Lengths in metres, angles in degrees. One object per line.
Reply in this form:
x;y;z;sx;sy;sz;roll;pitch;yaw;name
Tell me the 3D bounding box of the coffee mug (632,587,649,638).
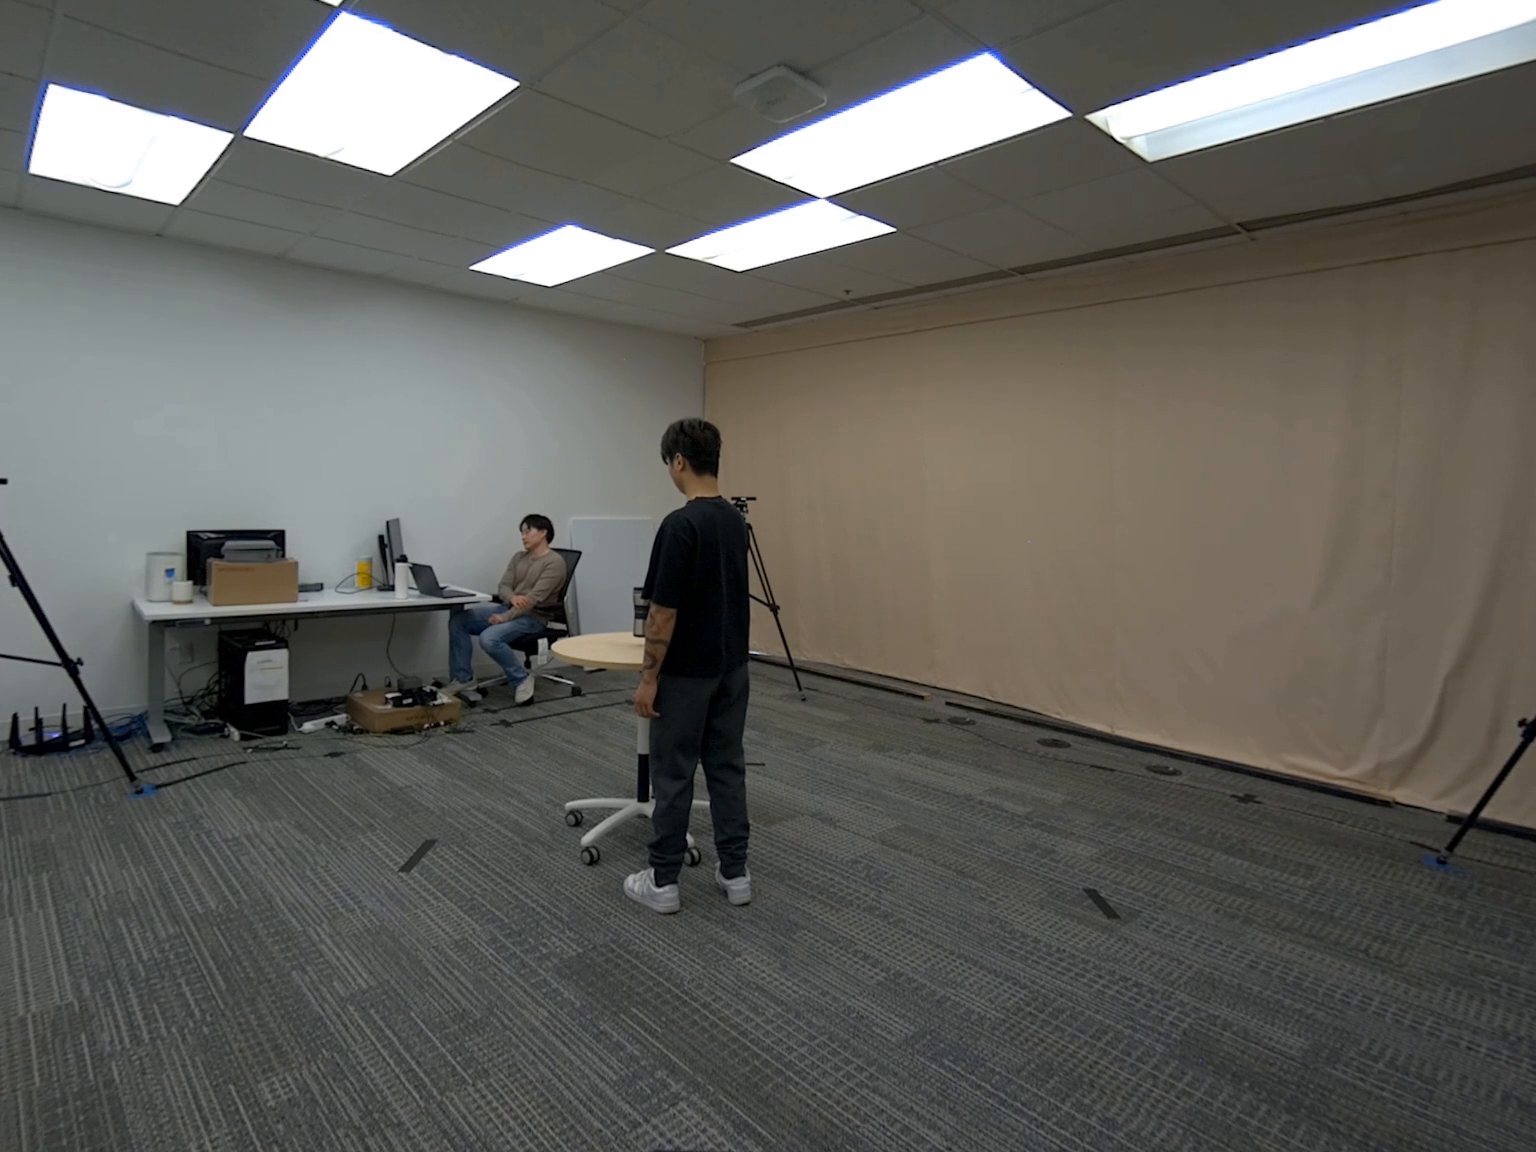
-0.514;0.150;3.421;0.086;0.203;0.124;5;-1;-21;coffee mug
